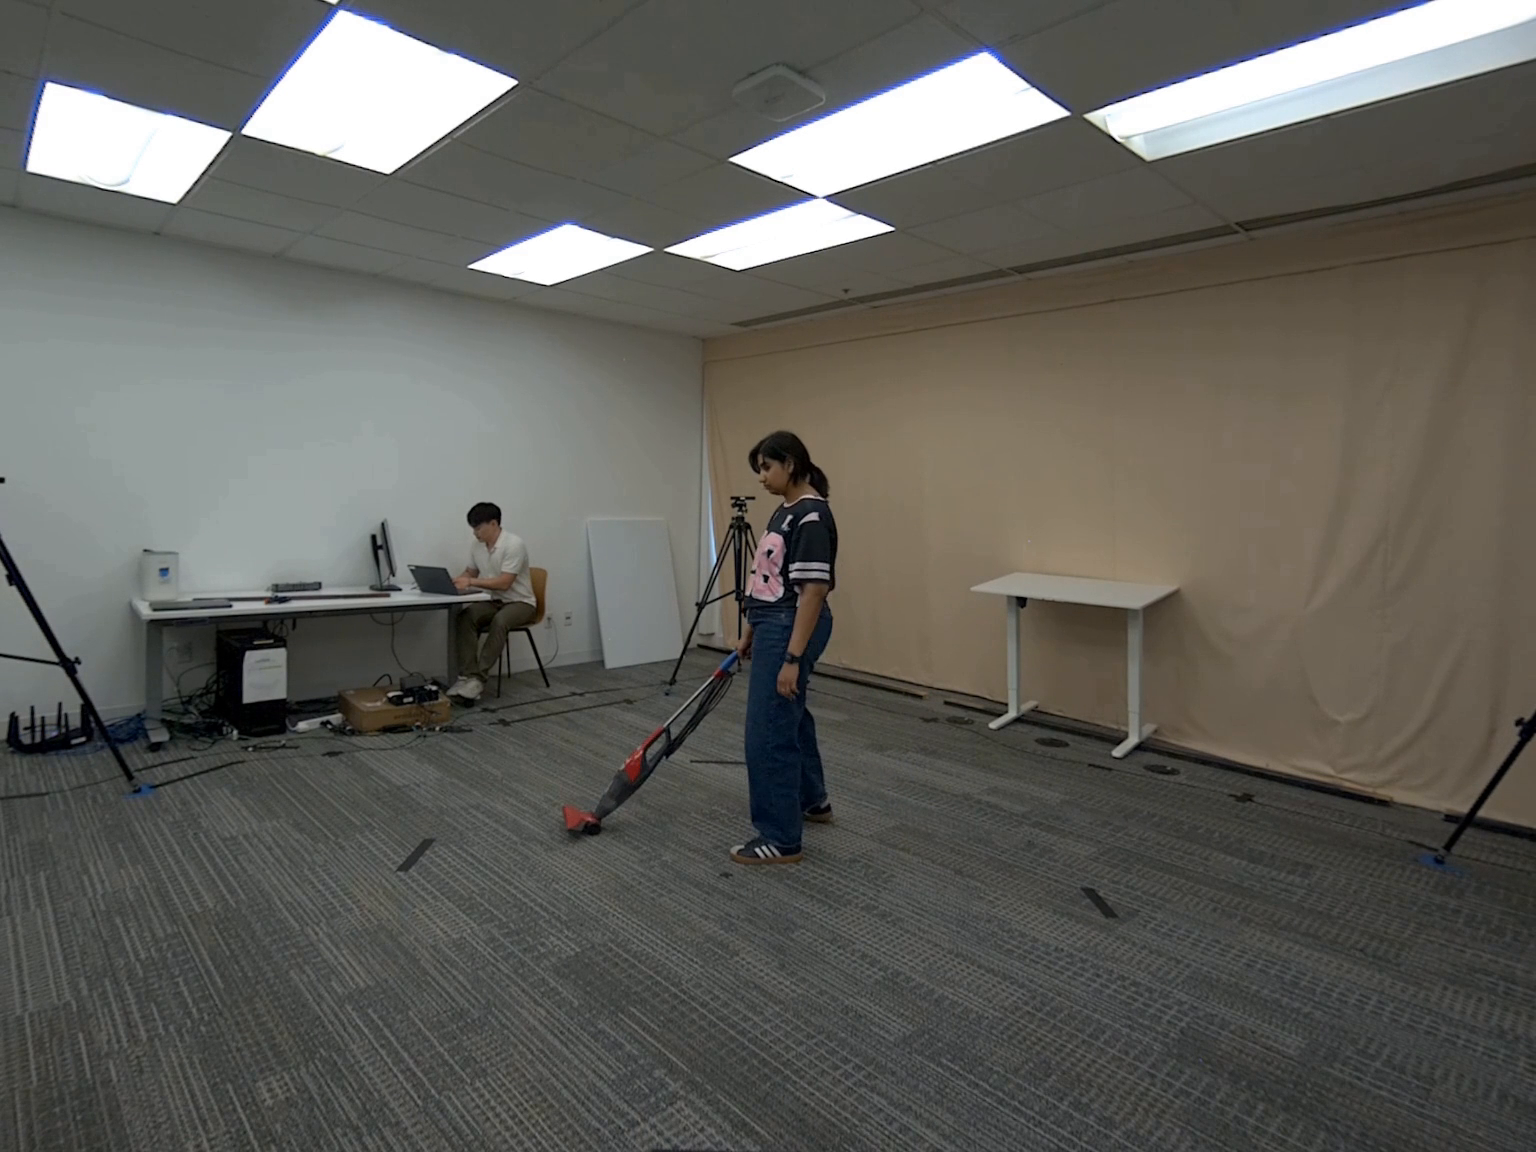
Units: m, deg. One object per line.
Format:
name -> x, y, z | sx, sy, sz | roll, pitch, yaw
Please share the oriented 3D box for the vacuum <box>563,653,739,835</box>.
vacuum -> -0.417, 0.674, 3.561 | 1.048, 0.141, 0.257 | -43, 18, -8
